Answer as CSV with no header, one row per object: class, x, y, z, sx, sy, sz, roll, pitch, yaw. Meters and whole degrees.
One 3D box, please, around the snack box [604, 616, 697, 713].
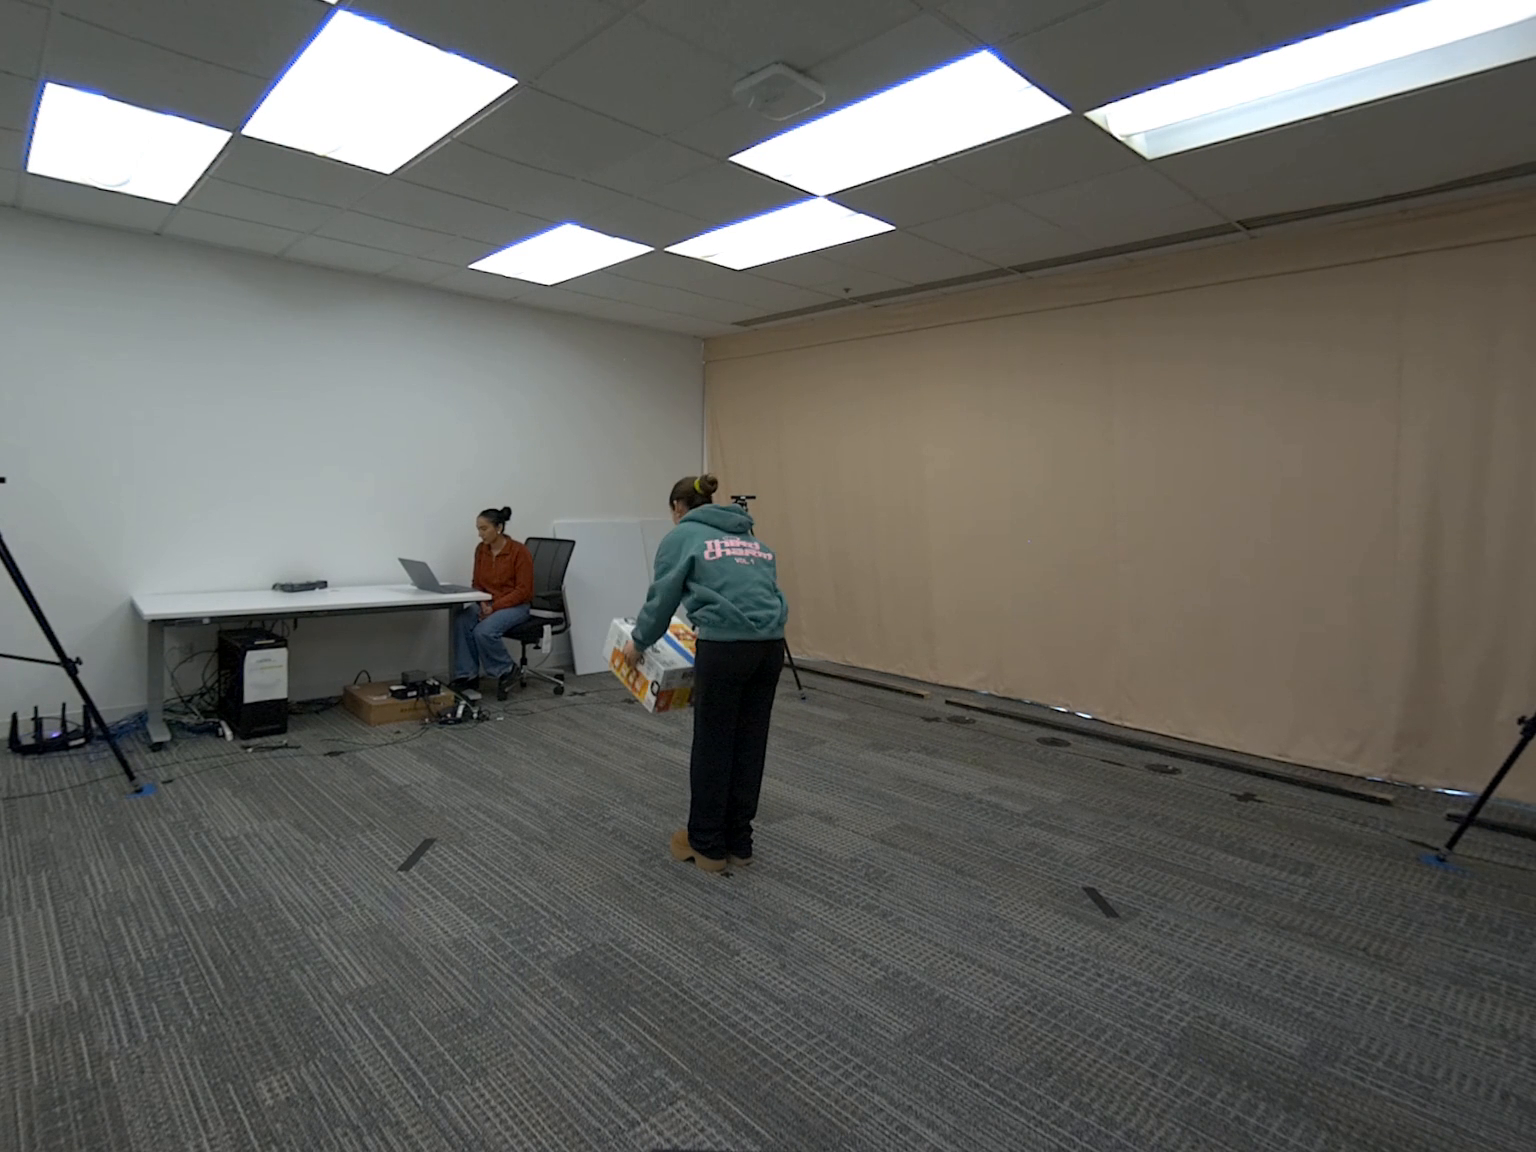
snack box,-0.447,0.353,3.559,0.332,0.204,0.418,0,27,-43
